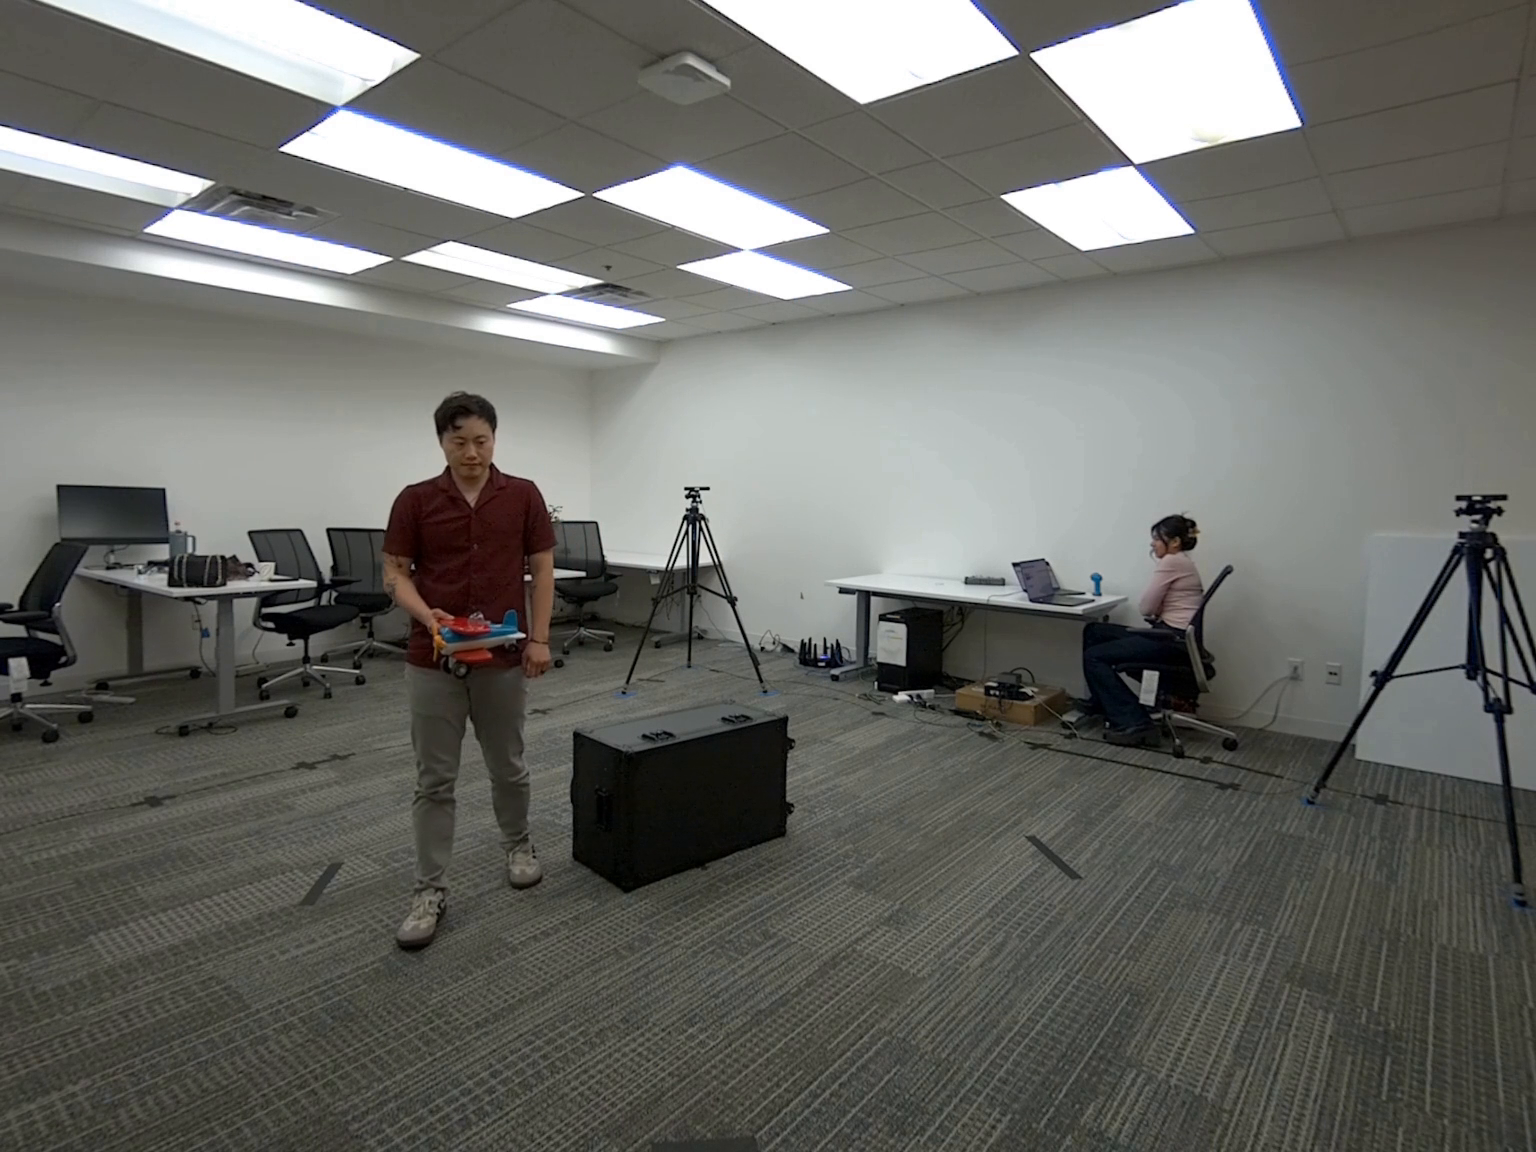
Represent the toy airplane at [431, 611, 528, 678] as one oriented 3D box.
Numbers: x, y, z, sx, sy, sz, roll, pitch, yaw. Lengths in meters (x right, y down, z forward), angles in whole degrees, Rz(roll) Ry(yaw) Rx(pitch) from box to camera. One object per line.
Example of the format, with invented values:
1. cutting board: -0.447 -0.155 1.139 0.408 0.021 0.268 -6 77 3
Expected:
1. toy airplane: -0.889 0.186 2.529 0.257 0.154 0.258 -4 17 25
